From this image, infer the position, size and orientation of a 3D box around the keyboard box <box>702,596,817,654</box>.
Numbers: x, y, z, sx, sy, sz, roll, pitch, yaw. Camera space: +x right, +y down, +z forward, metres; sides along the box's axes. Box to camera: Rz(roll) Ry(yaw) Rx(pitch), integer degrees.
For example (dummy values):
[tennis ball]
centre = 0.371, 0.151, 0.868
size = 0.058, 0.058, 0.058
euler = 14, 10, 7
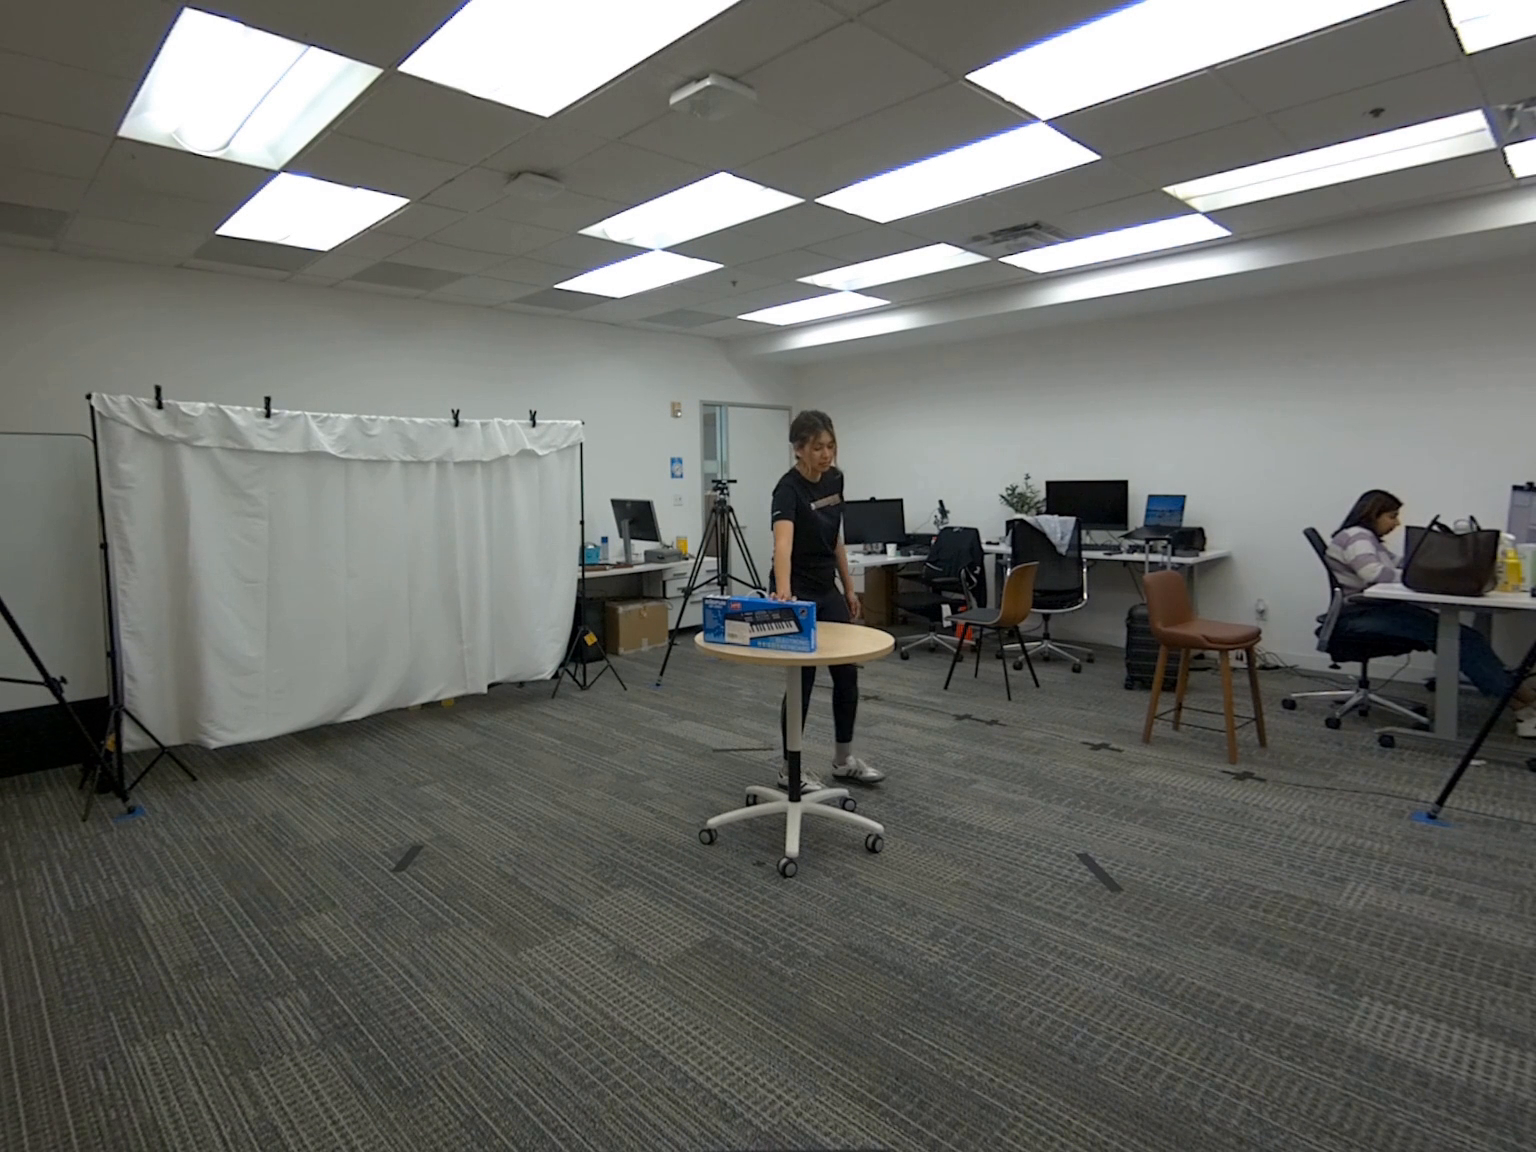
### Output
[keyboard box]
centre = -0.035, 0.173, 3.127
size = 0.448, 0.175, 0.058
euler = 3, 8, 28
